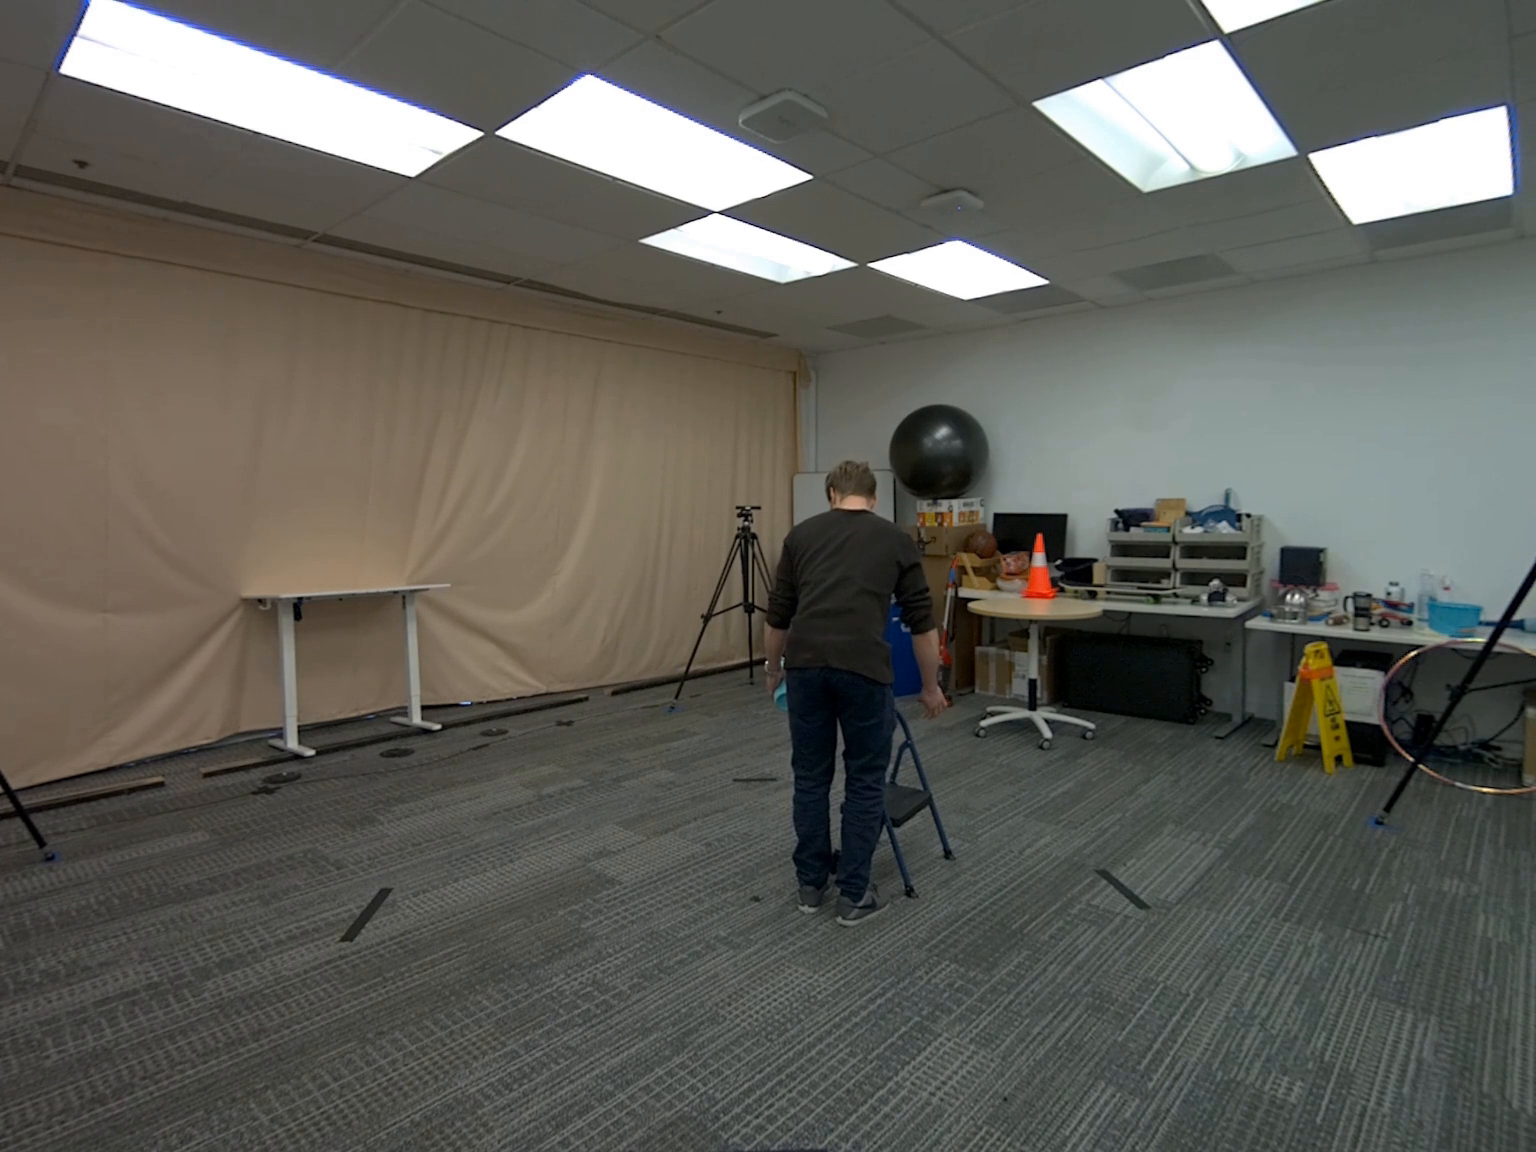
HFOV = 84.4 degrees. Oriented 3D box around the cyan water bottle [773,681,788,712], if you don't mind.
[{"bbox_3d":[0.073,0.416,3.282,0.092,0.091,0.288,-1,25,-6],"label":"cyan water bottle"}]
